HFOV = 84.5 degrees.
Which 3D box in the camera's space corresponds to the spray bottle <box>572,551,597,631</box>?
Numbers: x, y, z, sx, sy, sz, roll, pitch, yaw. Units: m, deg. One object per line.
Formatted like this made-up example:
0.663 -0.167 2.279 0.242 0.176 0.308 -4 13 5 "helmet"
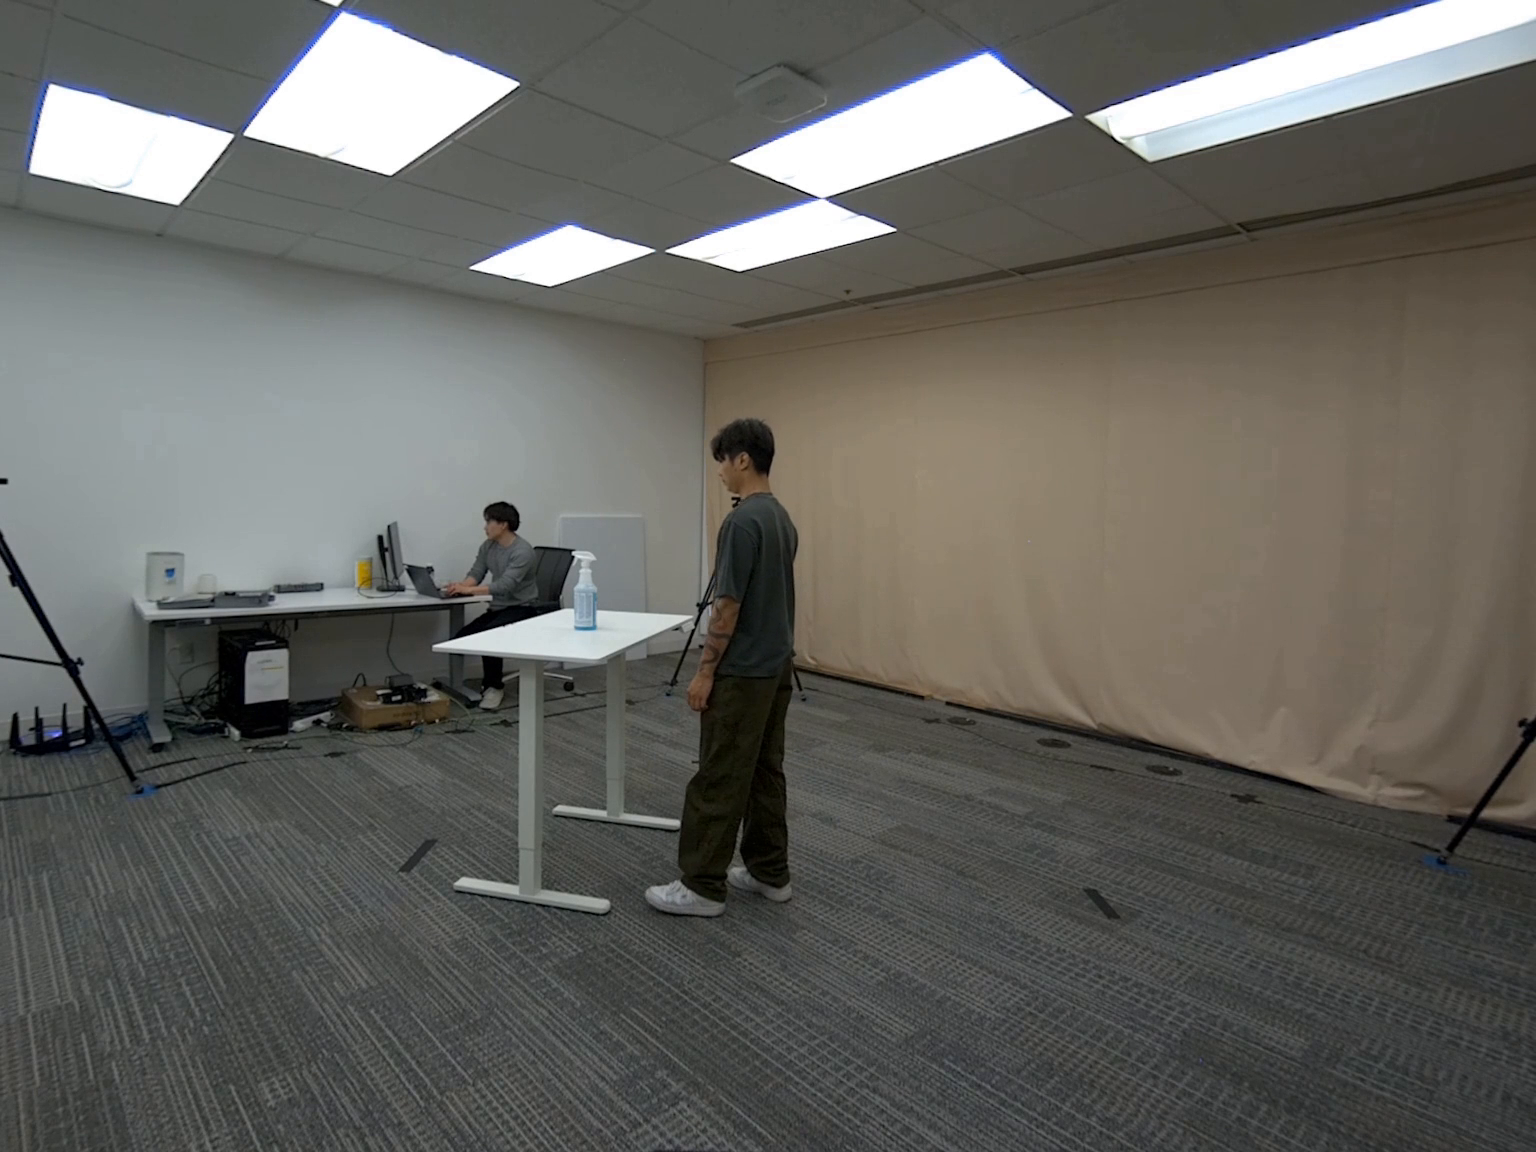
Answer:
-0.697 0.057 3.203 0.092 0.296 0.085 4 7 29 "spray bottle"
